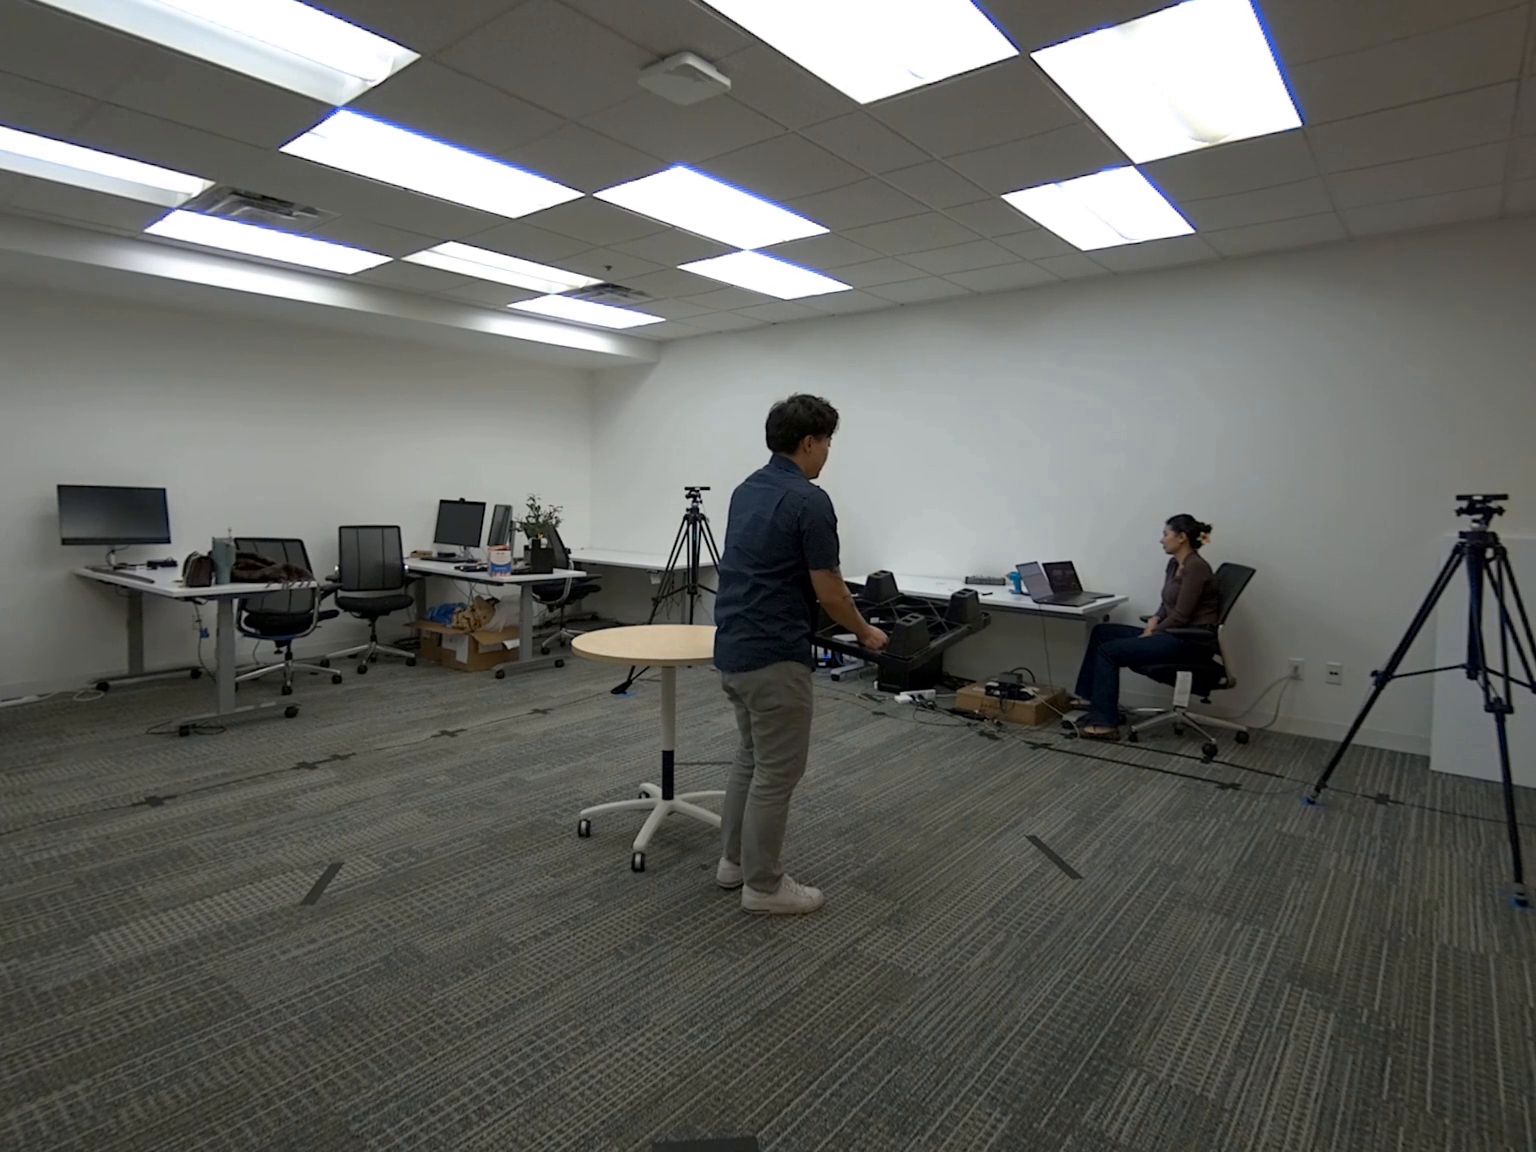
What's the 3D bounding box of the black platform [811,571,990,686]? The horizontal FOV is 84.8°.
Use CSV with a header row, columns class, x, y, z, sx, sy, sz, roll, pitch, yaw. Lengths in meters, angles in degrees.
class,x,y,z,sx,sy,sz,roll,pitch,yaw
black platform,0.303,0.099,3.070,0.835,0.141,0.592,13,22,39
